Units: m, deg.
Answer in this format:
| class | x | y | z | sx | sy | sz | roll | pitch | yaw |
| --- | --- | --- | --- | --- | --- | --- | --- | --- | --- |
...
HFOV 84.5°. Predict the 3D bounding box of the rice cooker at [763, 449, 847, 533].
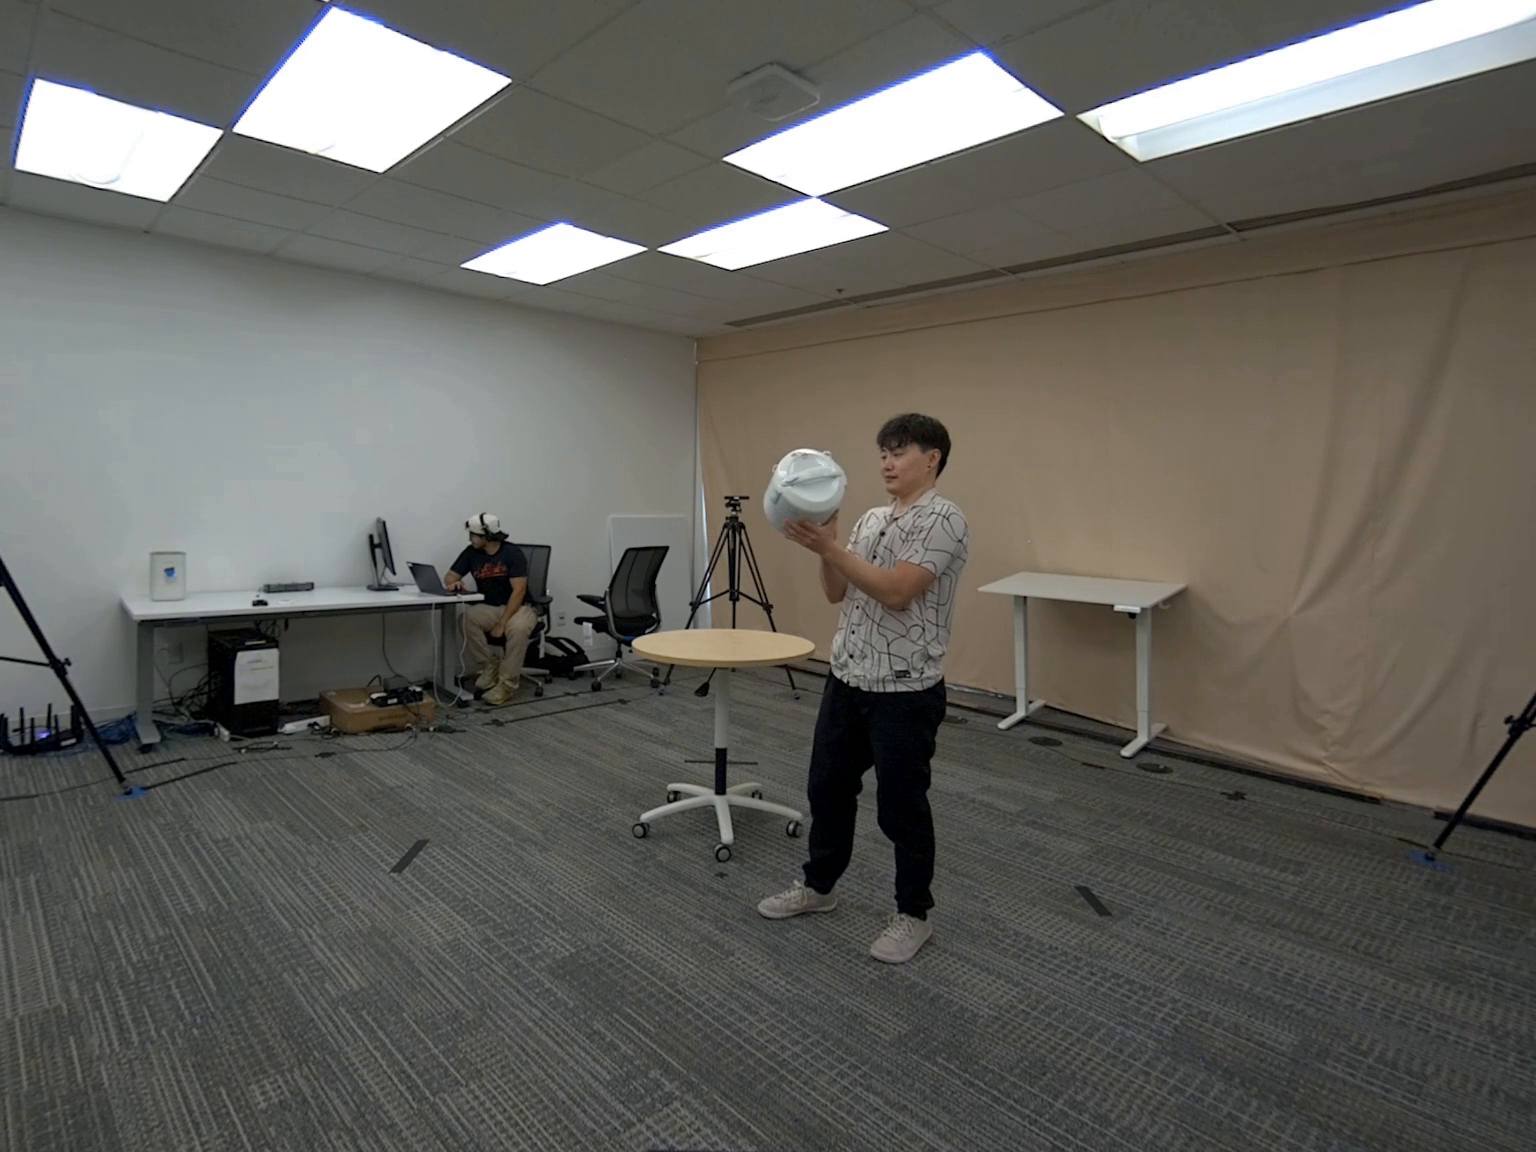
| class | x | y | z | sx | sy | sz | roll | pitch | yaw |
| --- | --- | --- | --- | --- | --- | --- | --- | --- | --- |
| rice cooker | 0.101 | -0.240 | 2.445 | 0.218 | 0.222 | 0.231 | -12 | -22 | -17 |
